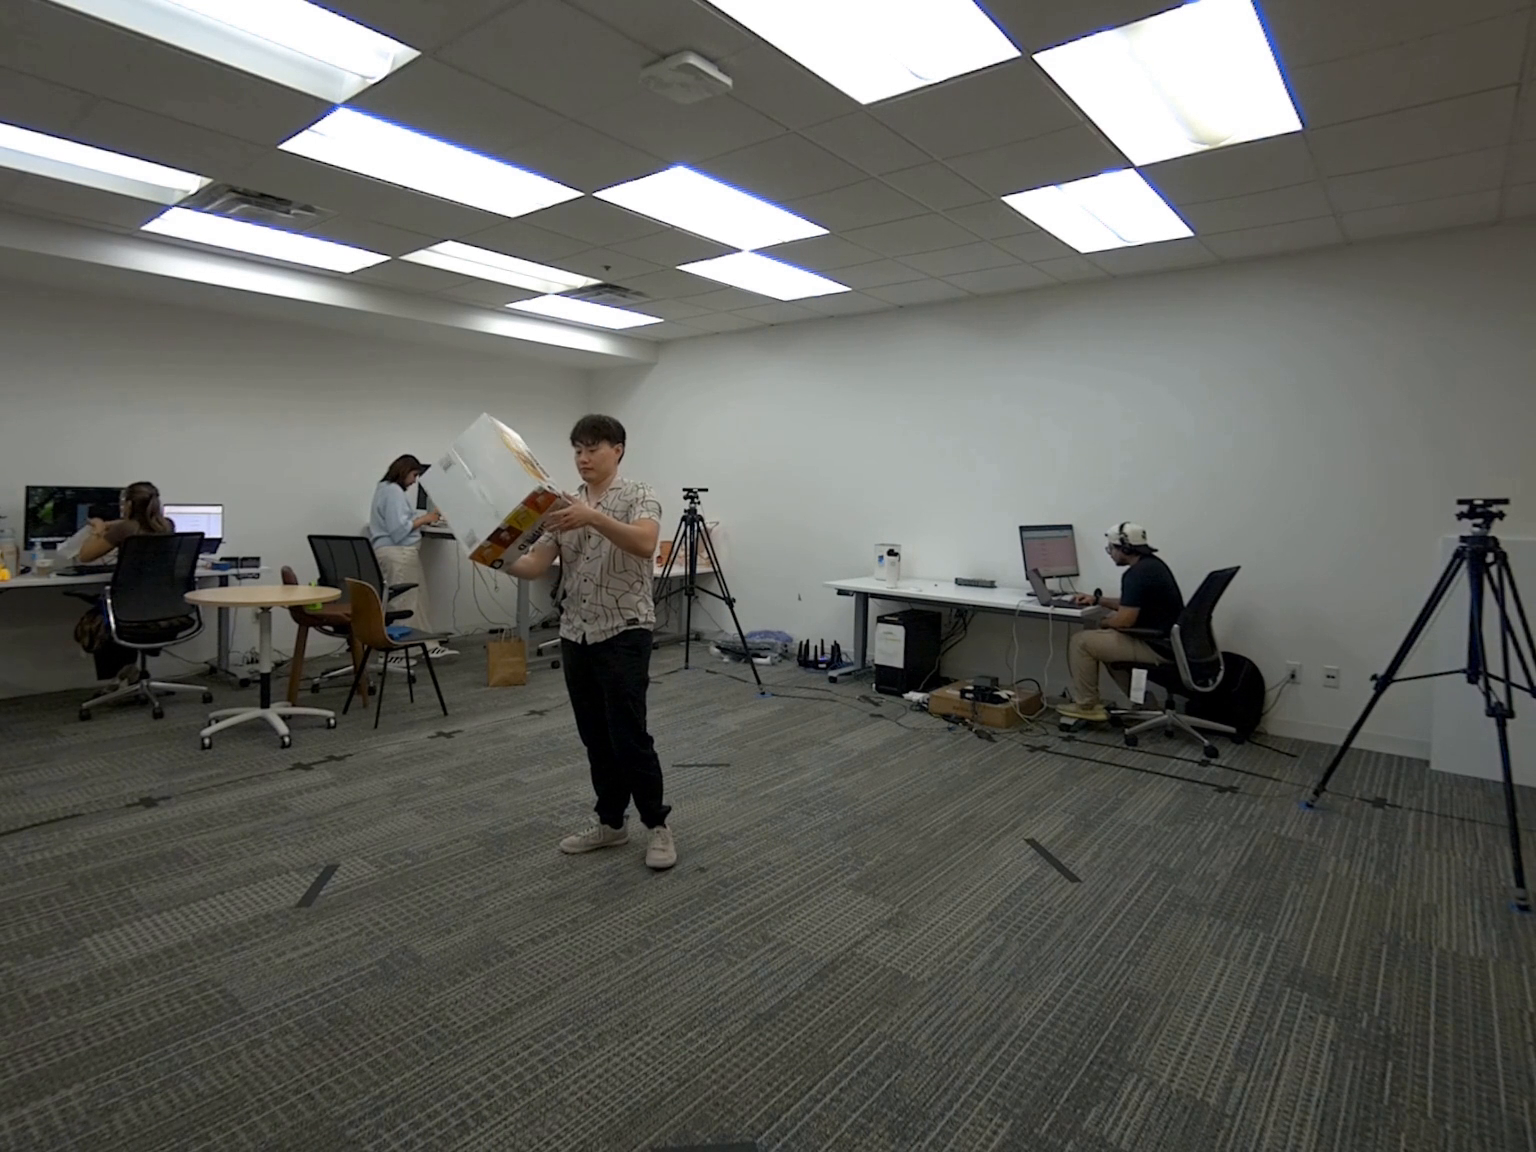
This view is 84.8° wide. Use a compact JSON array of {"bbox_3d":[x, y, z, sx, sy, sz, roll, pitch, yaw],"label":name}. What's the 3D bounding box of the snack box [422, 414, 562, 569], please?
[{"bbox_3d":[-0.953,-0.288,2.932,0.419,0.340,0.198,48,5,26],"label":"snack box"}]
